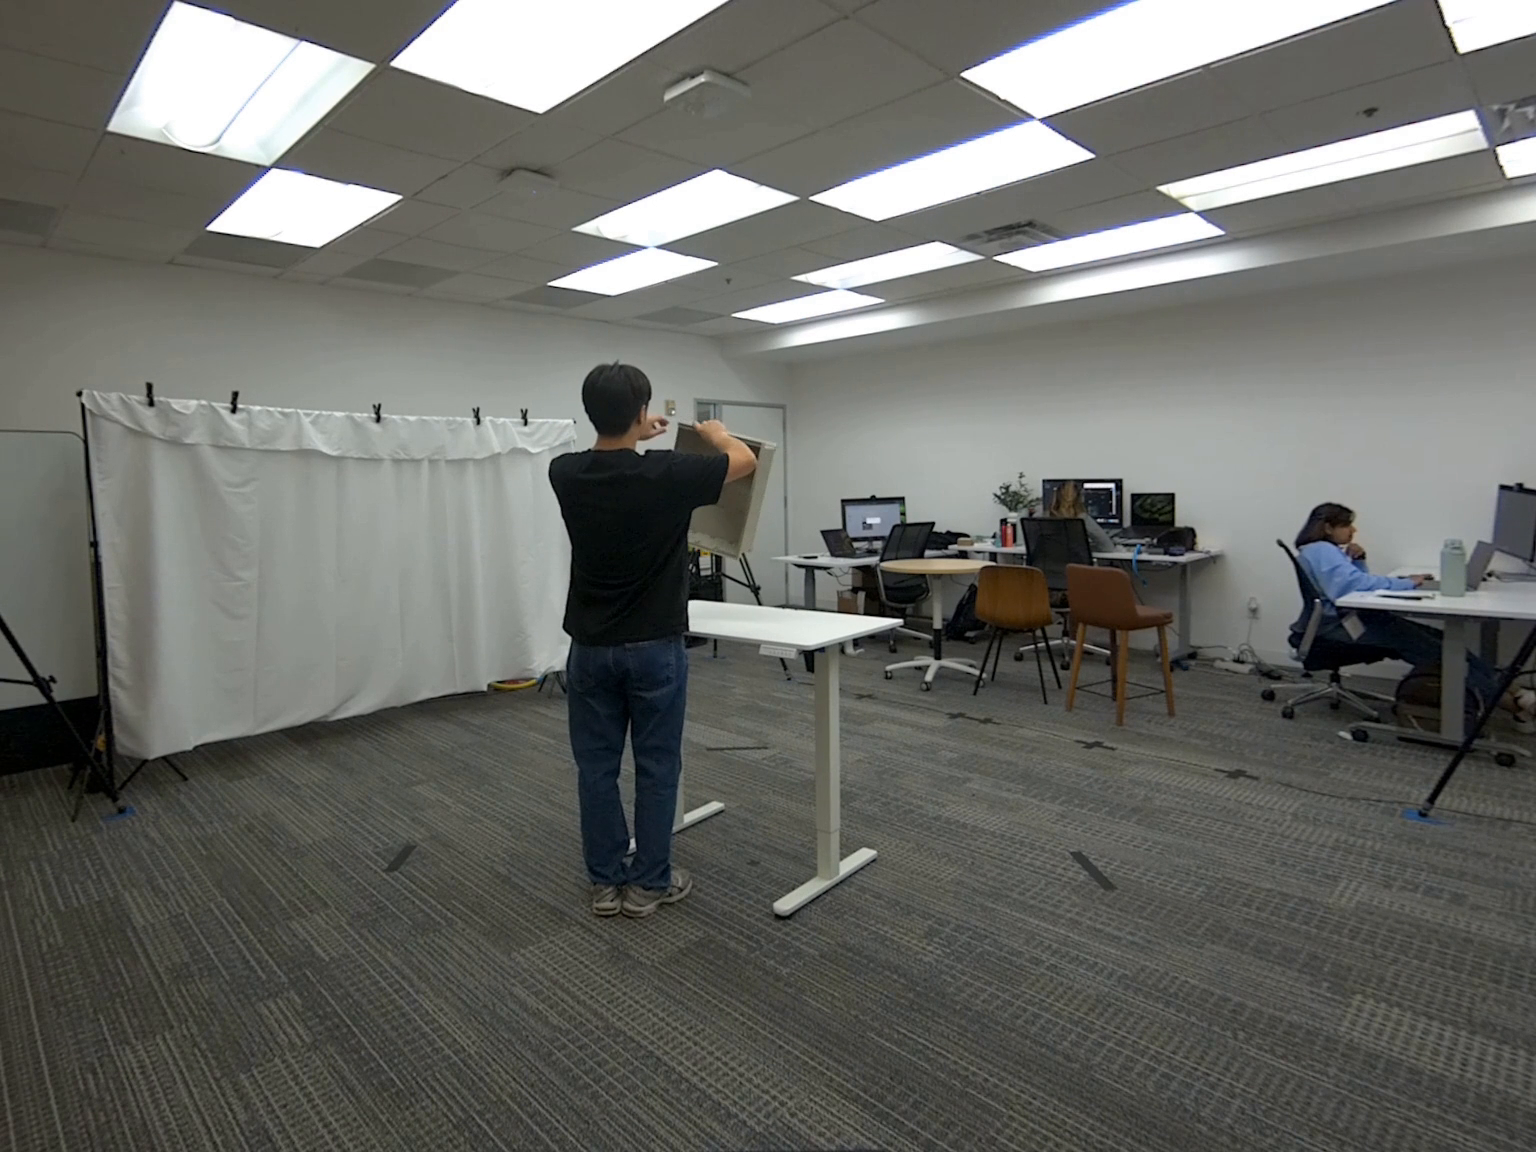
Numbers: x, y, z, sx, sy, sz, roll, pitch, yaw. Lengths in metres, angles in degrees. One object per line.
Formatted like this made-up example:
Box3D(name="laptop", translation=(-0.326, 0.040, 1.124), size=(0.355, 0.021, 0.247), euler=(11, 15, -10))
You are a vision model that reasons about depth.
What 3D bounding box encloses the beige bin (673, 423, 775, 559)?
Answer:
Box3D(name="beige bin", translation=(-0.201, -0.318, 3.093), size=(0.385, 0.420, 0.186), euler=(17, 9, 18))
